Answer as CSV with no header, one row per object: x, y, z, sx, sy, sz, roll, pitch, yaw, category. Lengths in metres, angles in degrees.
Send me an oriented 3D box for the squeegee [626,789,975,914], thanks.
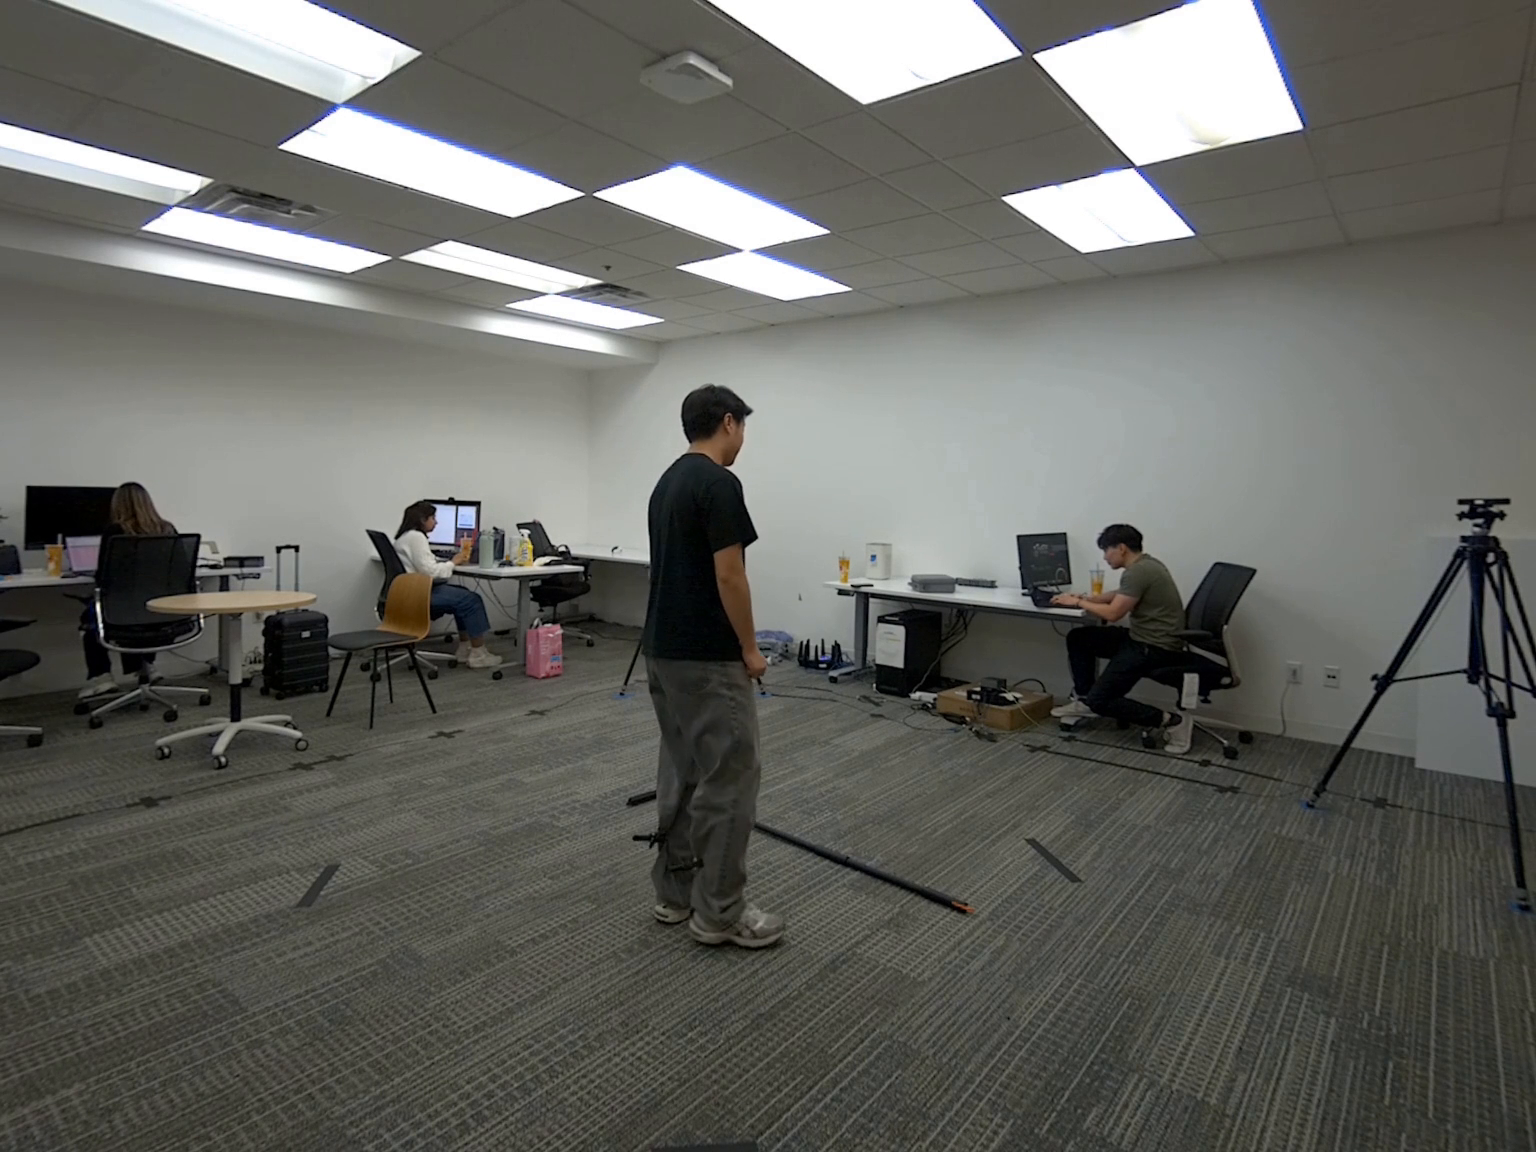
0.082,1.018,3.336,1.592,0.053,0.424,8,9,43,squeegee
